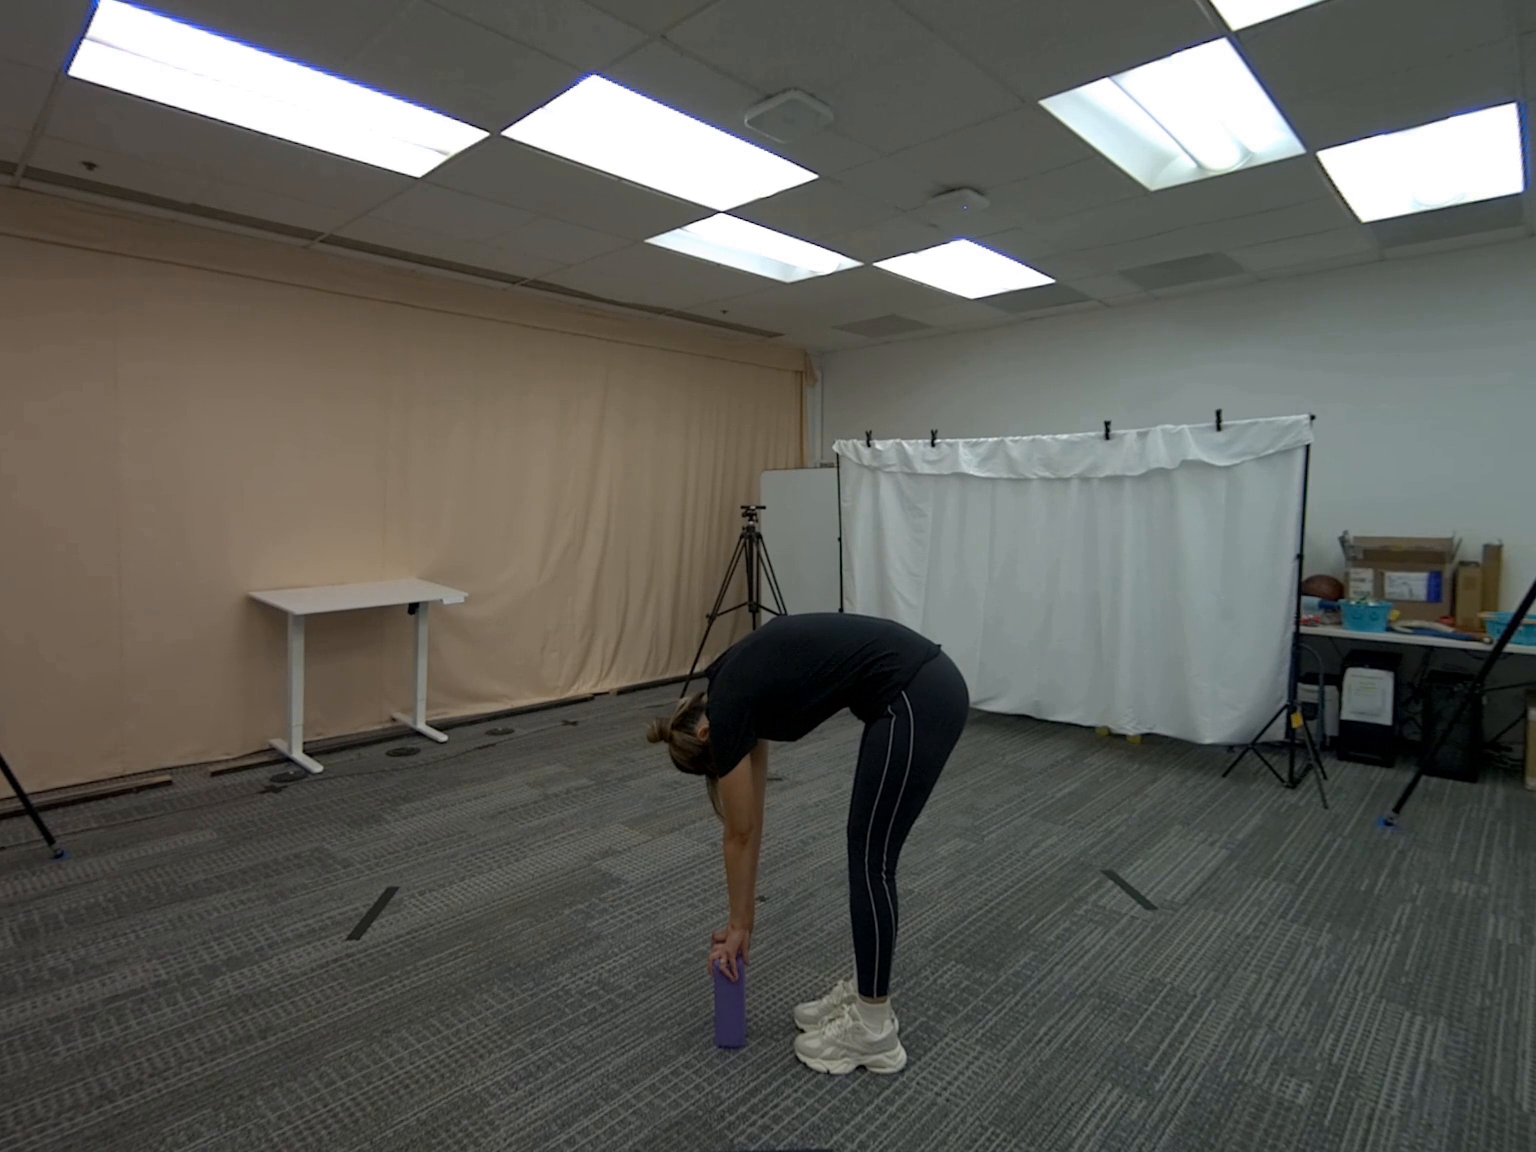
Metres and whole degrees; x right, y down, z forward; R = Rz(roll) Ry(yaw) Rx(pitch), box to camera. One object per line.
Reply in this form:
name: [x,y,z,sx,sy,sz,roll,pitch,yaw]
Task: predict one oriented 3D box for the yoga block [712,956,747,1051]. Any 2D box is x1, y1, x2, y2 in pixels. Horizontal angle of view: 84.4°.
yoga block: [-0.100,1.101,2.222,0.076,0.229,0.149,1,2,1]
